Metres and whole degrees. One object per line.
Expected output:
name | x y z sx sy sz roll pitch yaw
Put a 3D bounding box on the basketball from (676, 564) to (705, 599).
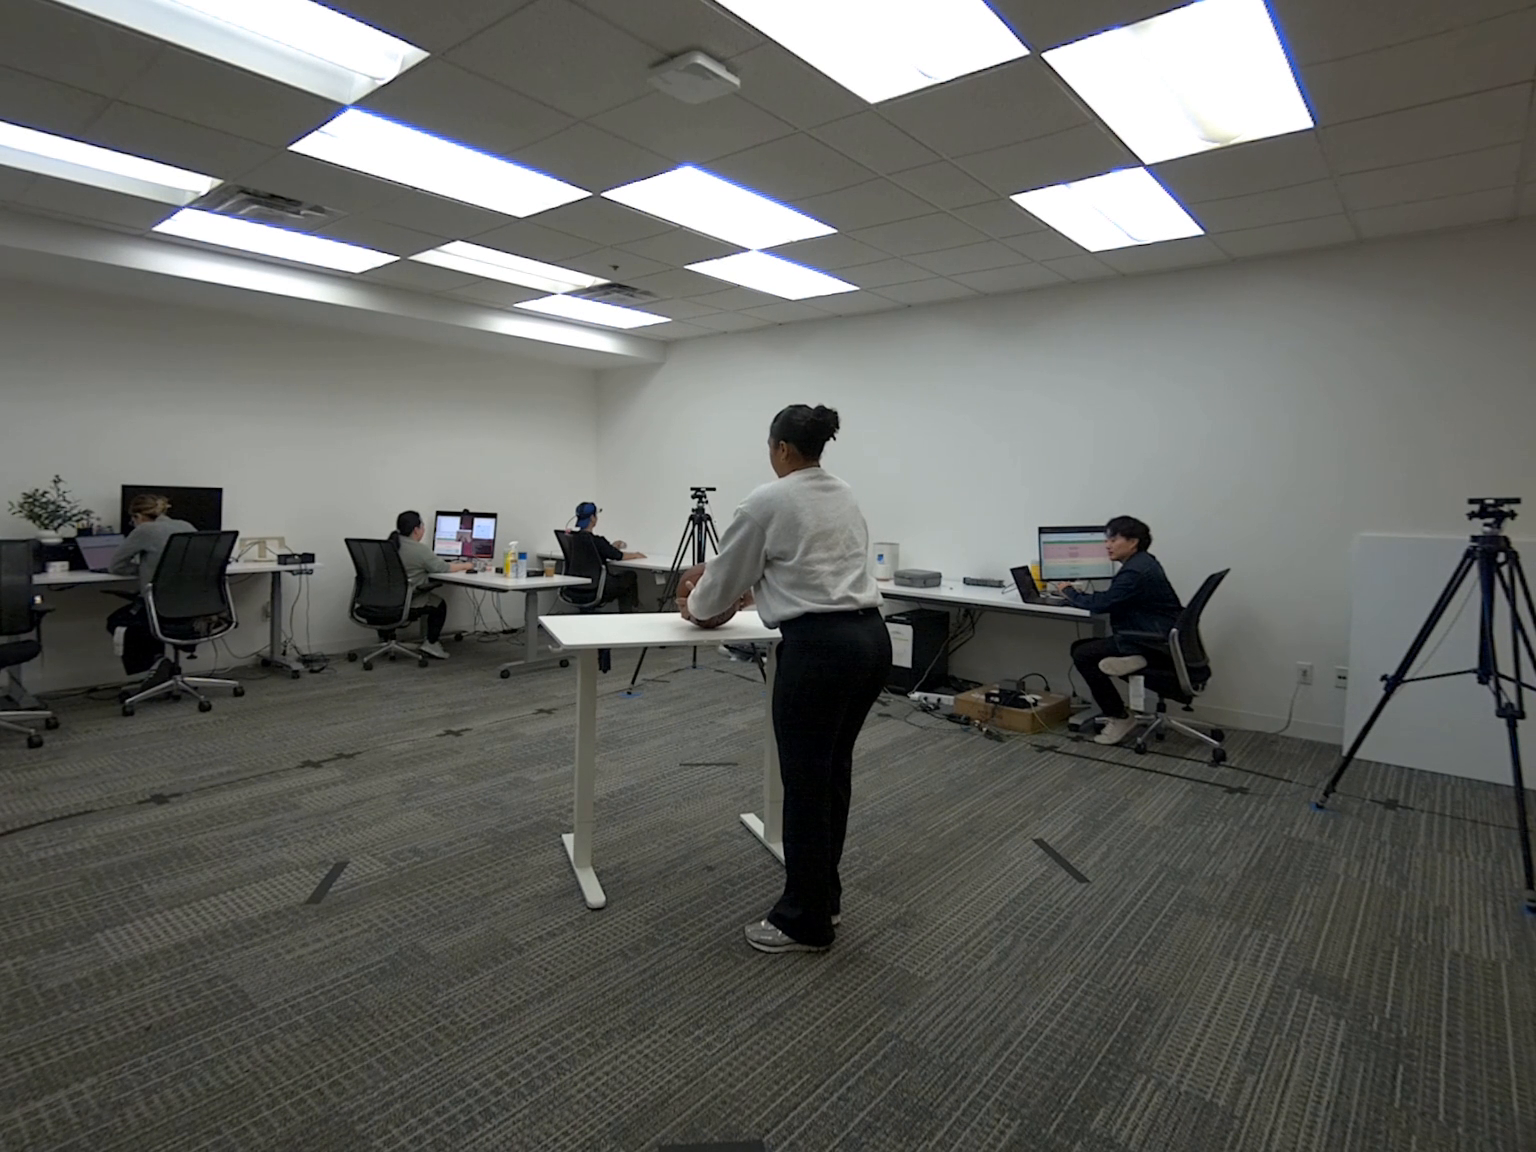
basketball | -0.217 0.065 3.102 0.235 0.235 0.237 1 4 -2
